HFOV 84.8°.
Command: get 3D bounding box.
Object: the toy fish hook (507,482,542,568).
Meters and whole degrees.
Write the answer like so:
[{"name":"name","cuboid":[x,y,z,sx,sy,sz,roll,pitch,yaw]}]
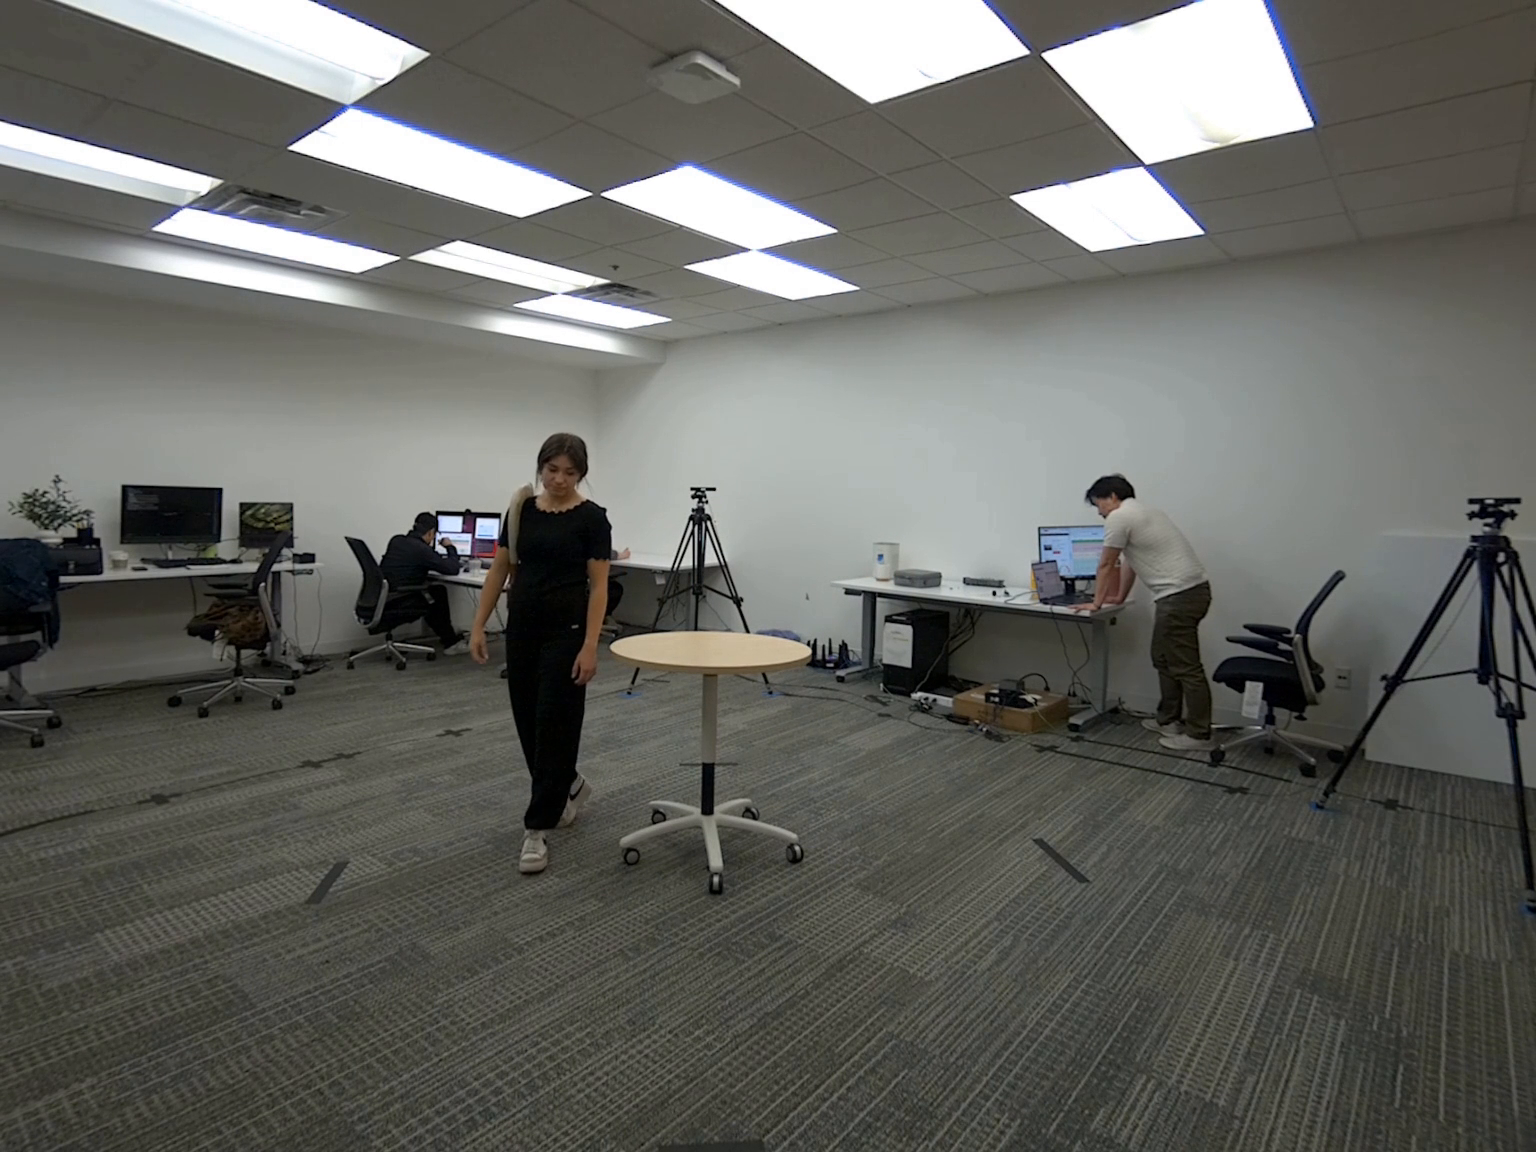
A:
[{"name":"toy fish hook","cuboid":[-0.985,-0.116,3.351,0.049,0.503,0.222,10,9,12]}]
